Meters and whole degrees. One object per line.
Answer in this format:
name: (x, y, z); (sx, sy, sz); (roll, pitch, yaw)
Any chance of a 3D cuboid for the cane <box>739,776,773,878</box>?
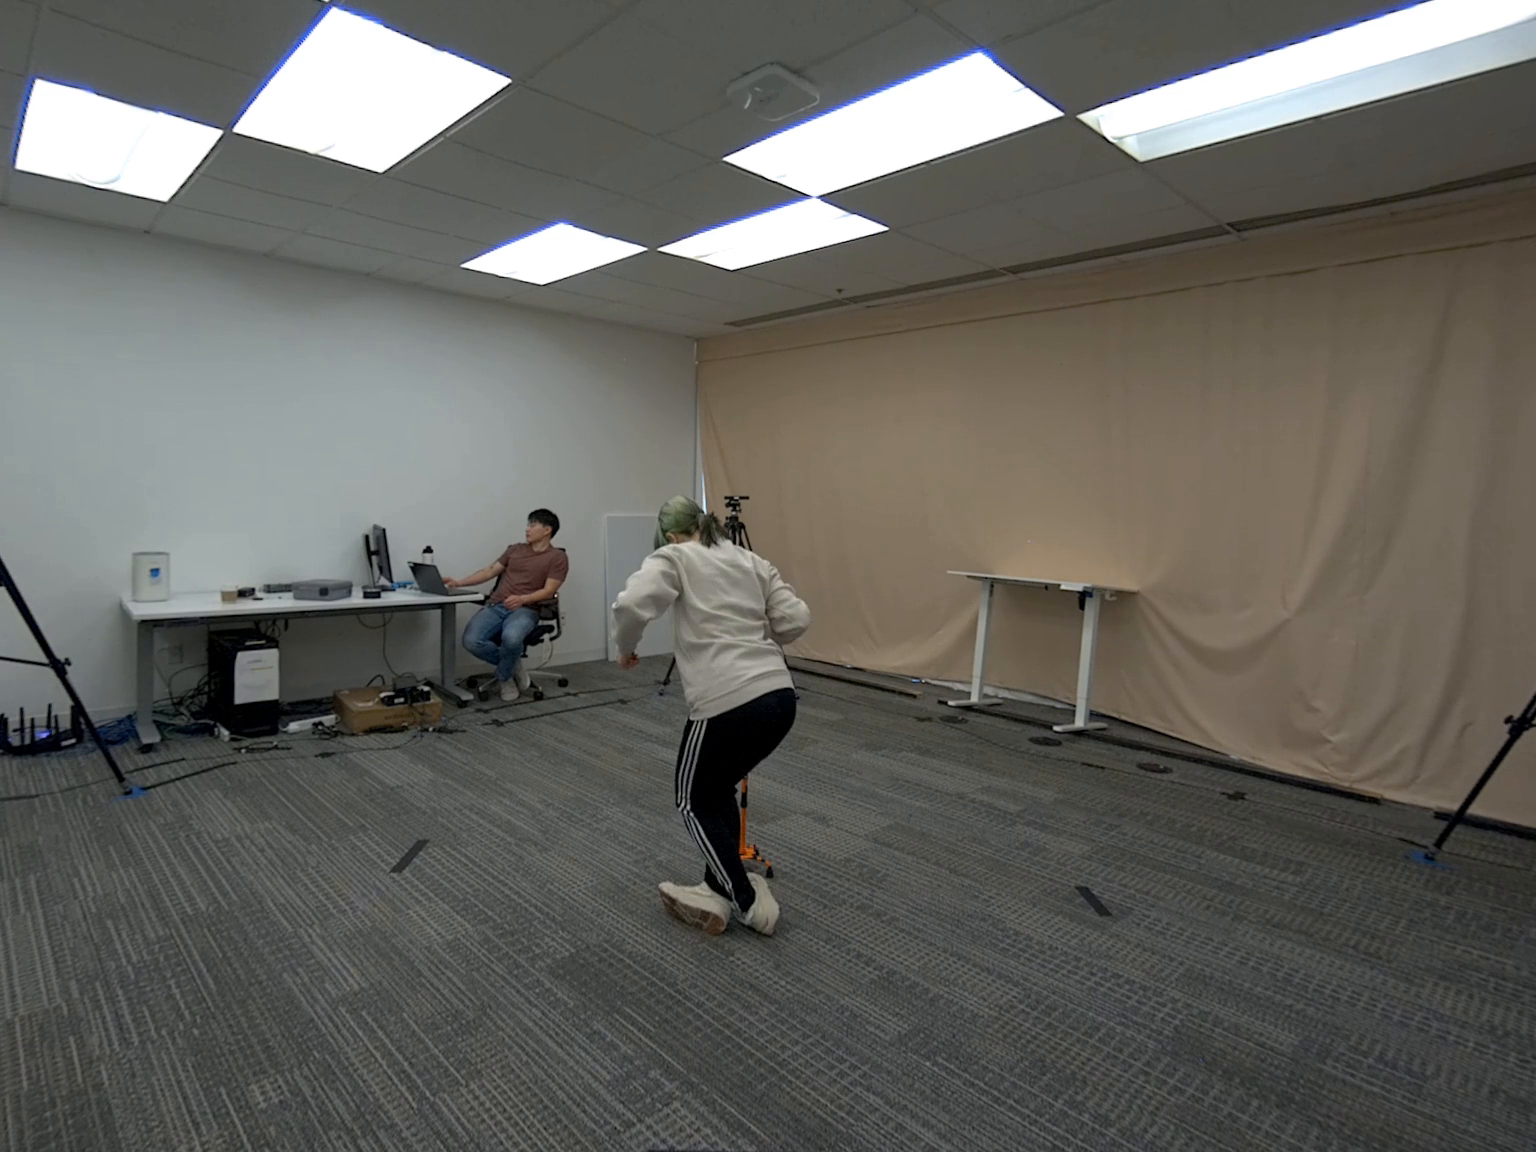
cane: (-0.069, 0.654, 3.142); (0.150, 0.907, 0.209); (1, 1, -17)
